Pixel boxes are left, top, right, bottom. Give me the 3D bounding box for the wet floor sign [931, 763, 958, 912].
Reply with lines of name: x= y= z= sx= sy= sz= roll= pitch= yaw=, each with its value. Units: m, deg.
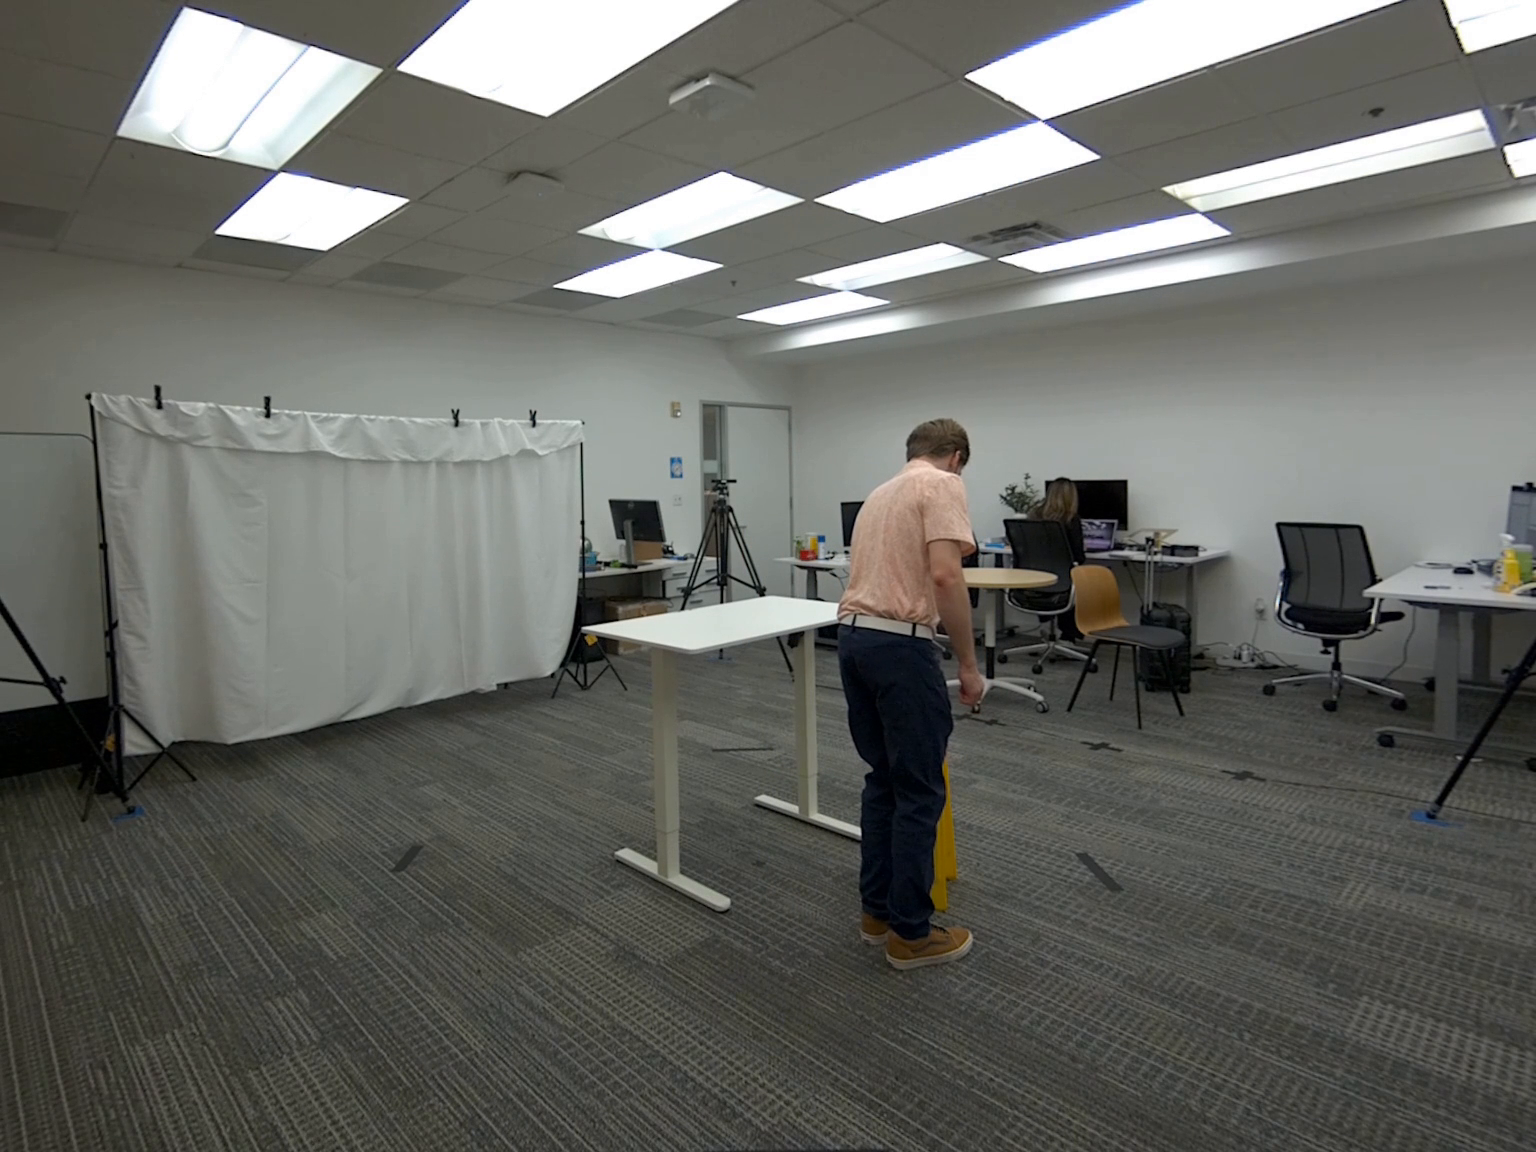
wet floor sign: x=0.476 y=0.736 z=2.885 sx=0.287 sy=0.644 sz=0.286 roll=-2 pitch=3 yaw=18
